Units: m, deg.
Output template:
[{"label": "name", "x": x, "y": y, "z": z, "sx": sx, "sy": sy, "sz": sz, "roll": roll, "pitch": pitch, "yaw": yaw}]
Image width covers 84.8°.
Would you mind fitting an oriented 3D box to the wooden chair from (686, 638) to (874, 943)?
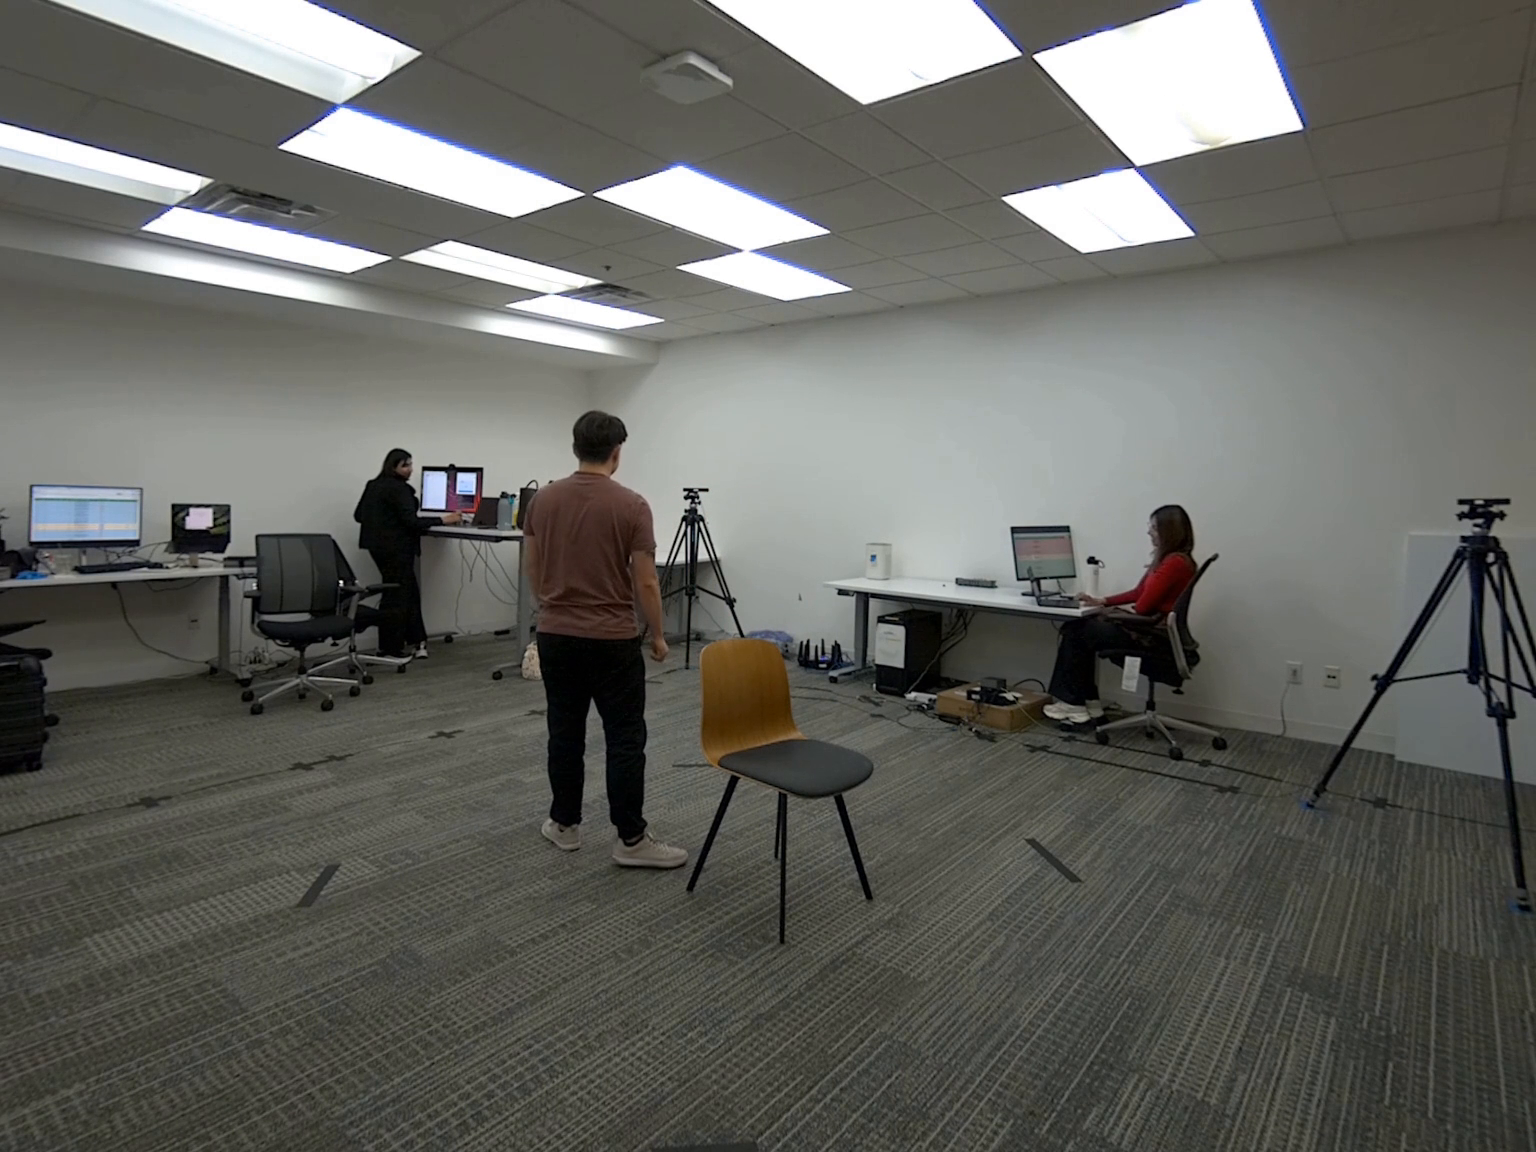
[{"label": "wooden chair", "x": 0.047, "y": 0.668, "z": 2.885, "sx": 0.463, "sy": 0.878, "sz": 0.539, "roll": -1, "pitch": 0, "yaw": -44}]
